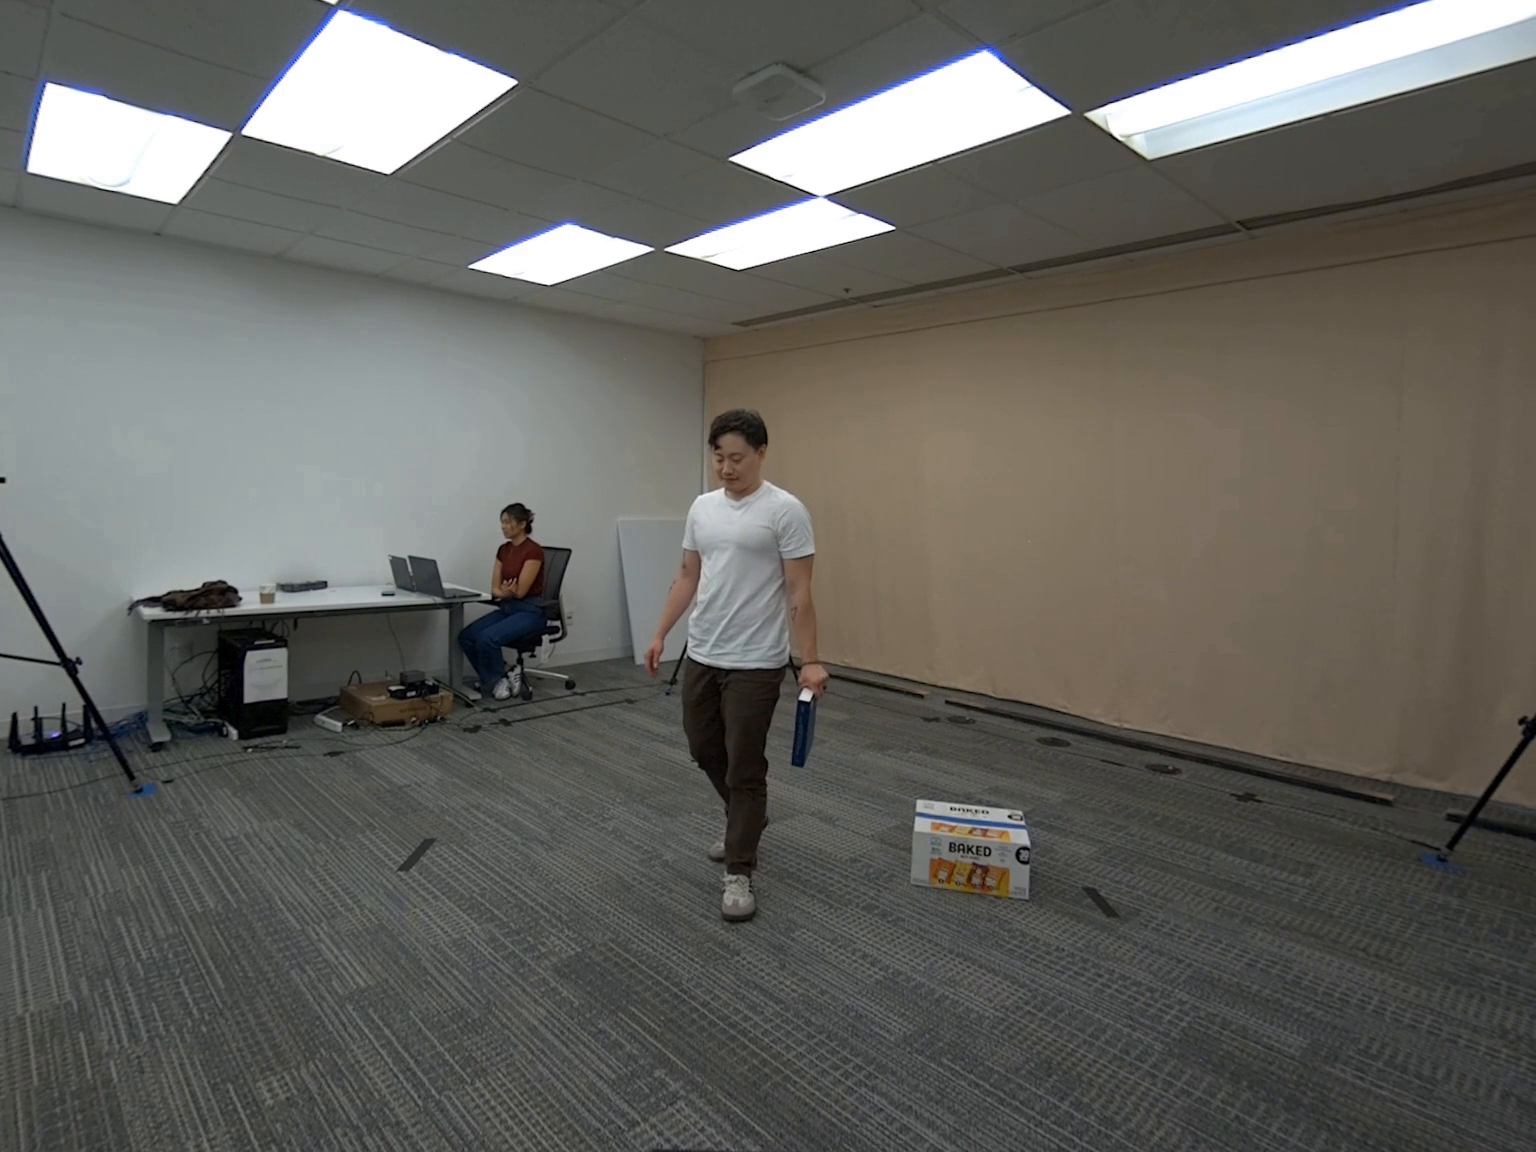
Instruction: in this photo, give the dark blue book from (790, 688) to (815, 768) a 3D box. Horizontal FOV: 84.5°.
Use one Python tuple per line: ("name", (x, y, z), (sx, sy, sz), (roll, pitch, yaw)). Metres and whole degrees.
("dark blue book", (0.108, 0.481, 2.764), (0.045, 0.242, 0.164), (5, 18, 10))
